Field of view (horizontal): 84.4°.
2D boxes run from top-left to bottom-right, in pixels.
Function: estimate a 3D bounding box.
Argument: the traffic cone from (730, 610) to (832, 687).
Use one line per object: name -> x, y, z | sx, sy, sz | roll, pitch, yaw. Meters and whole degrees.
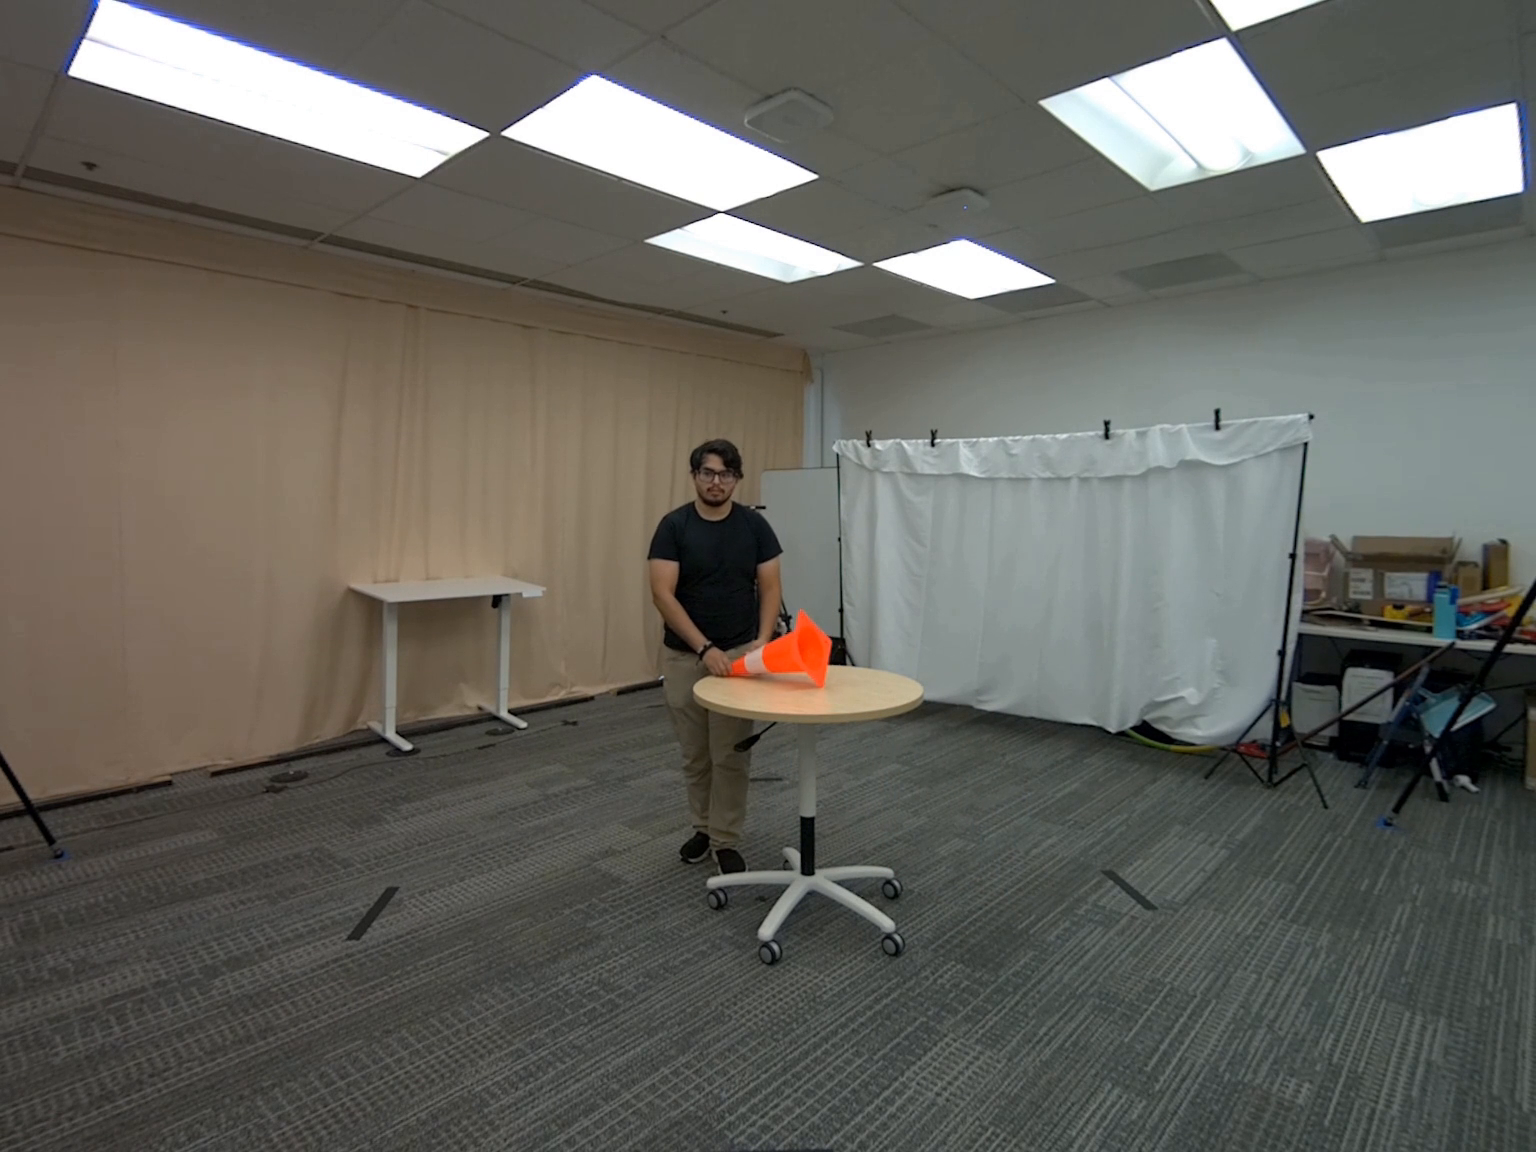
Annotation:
traffic cone -> 0.005, 0.299, 2.920 | 0.392, 0.205, 0.199 | -20, -52, 35
